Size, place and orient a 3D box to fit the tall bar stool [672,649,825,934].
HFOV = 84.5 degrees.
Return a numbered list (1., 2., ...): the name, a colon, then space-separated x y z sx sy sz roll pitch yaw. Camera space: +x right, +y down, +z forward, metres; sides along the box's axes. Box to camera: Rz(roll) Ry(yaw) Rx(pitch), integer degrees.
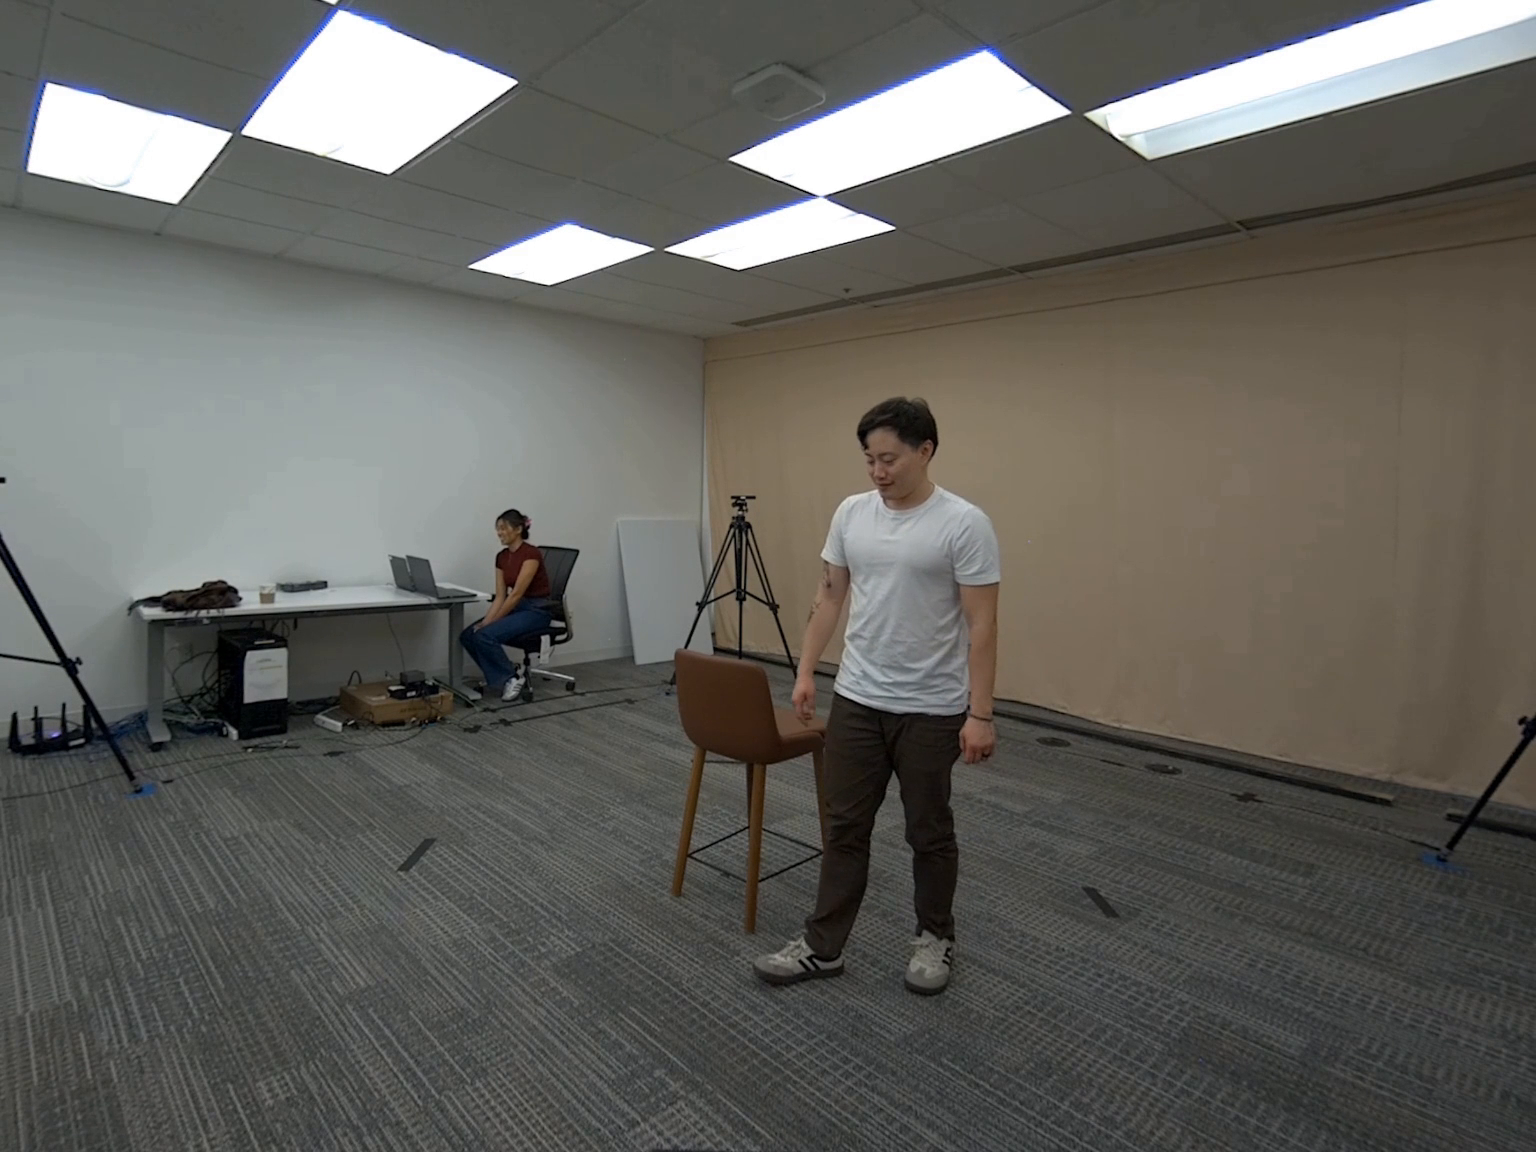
1. tall bar stool: -0.055 0.683 2.942 0.468 0.887 0.457 4 6 42
